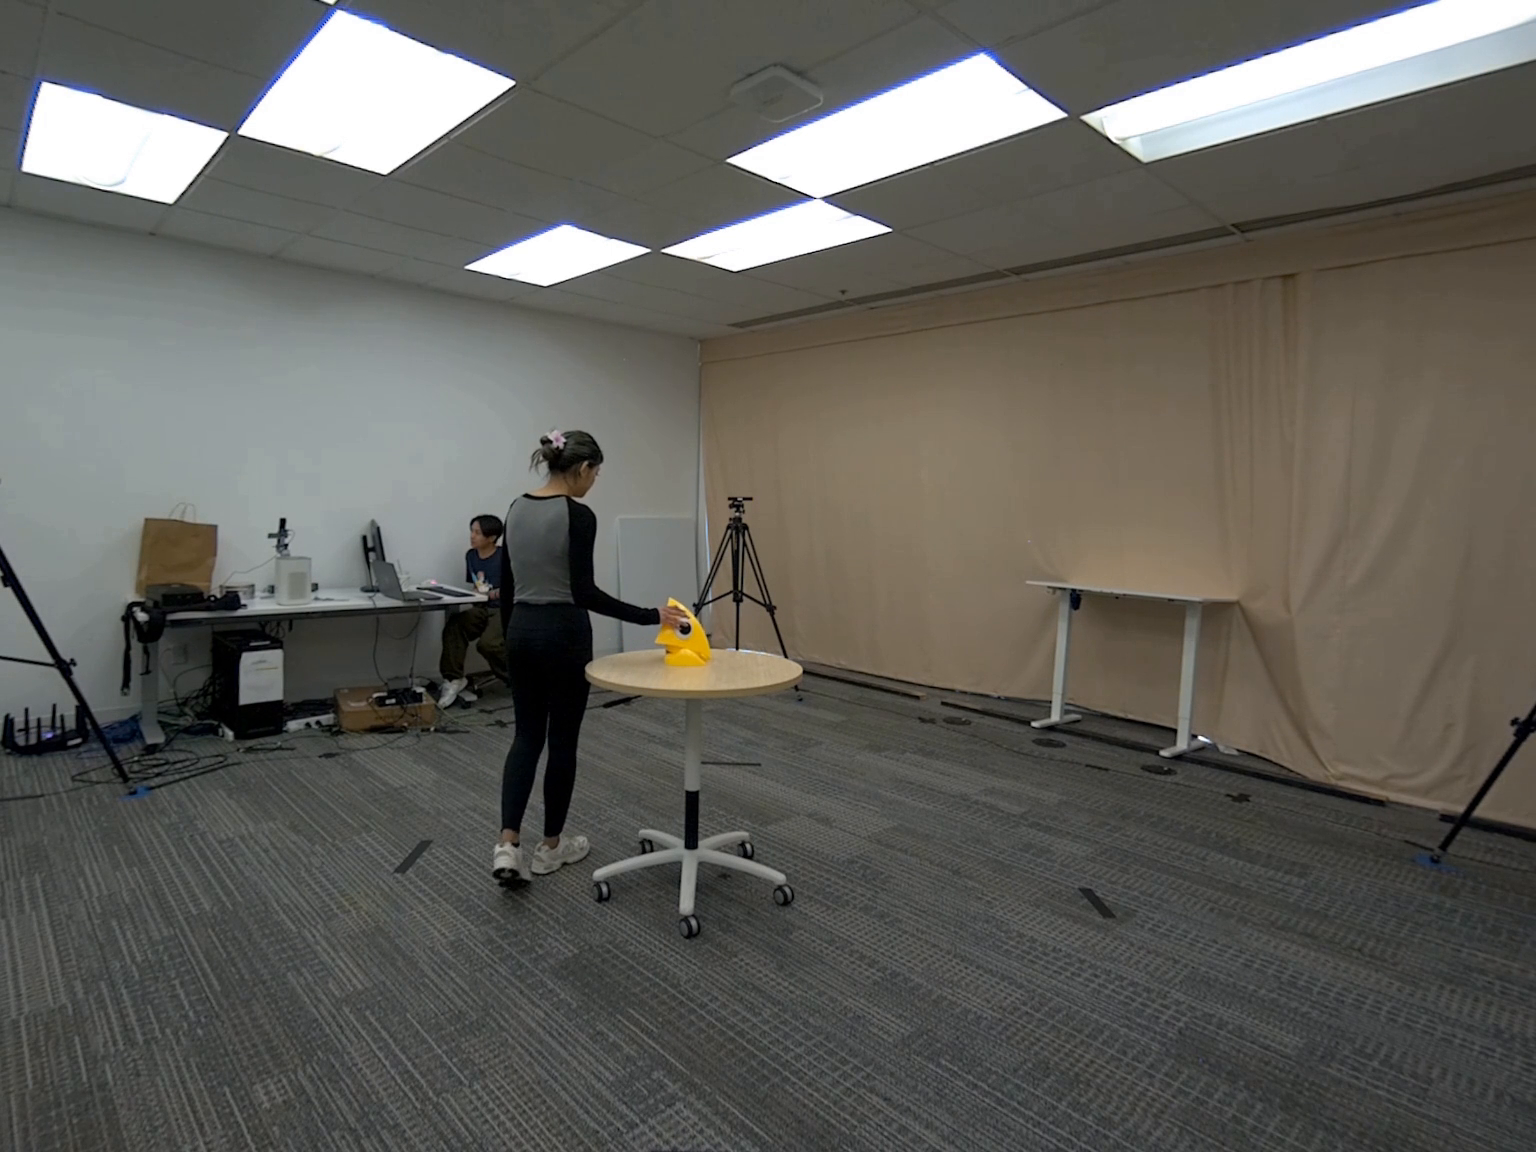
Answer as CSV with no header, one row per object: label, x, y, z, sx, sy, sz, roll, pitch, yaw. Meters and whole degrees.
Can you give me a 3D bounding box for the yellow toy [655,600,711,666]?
yellow toy,-0.309,0.201,3.086,0.194,0.230,0.204,2,4,7
